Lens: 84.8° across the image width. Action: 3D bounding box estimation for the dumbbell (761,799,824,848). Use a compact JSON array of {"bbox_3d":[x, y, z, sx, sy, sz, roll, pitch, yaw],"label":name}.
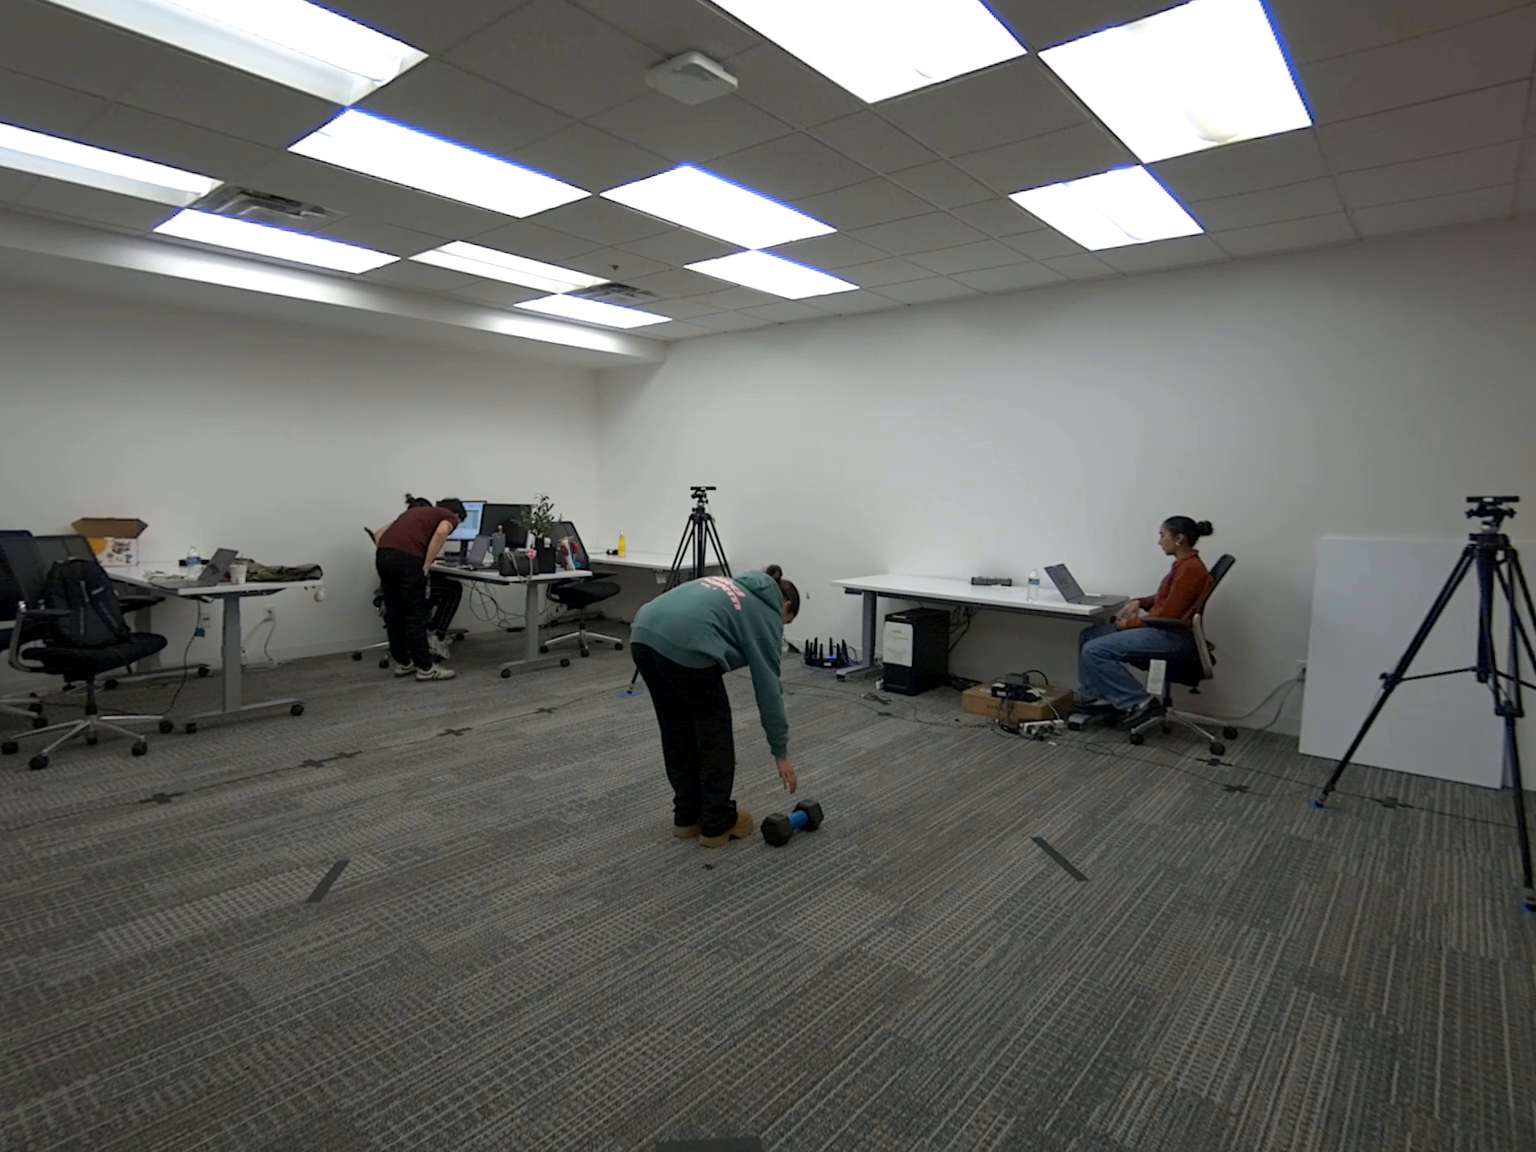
[{"bbox_3d":[0.092,0.990,3.417,0.113,0.122,0.285,41,28,30],"label":"dumbbell"}]
